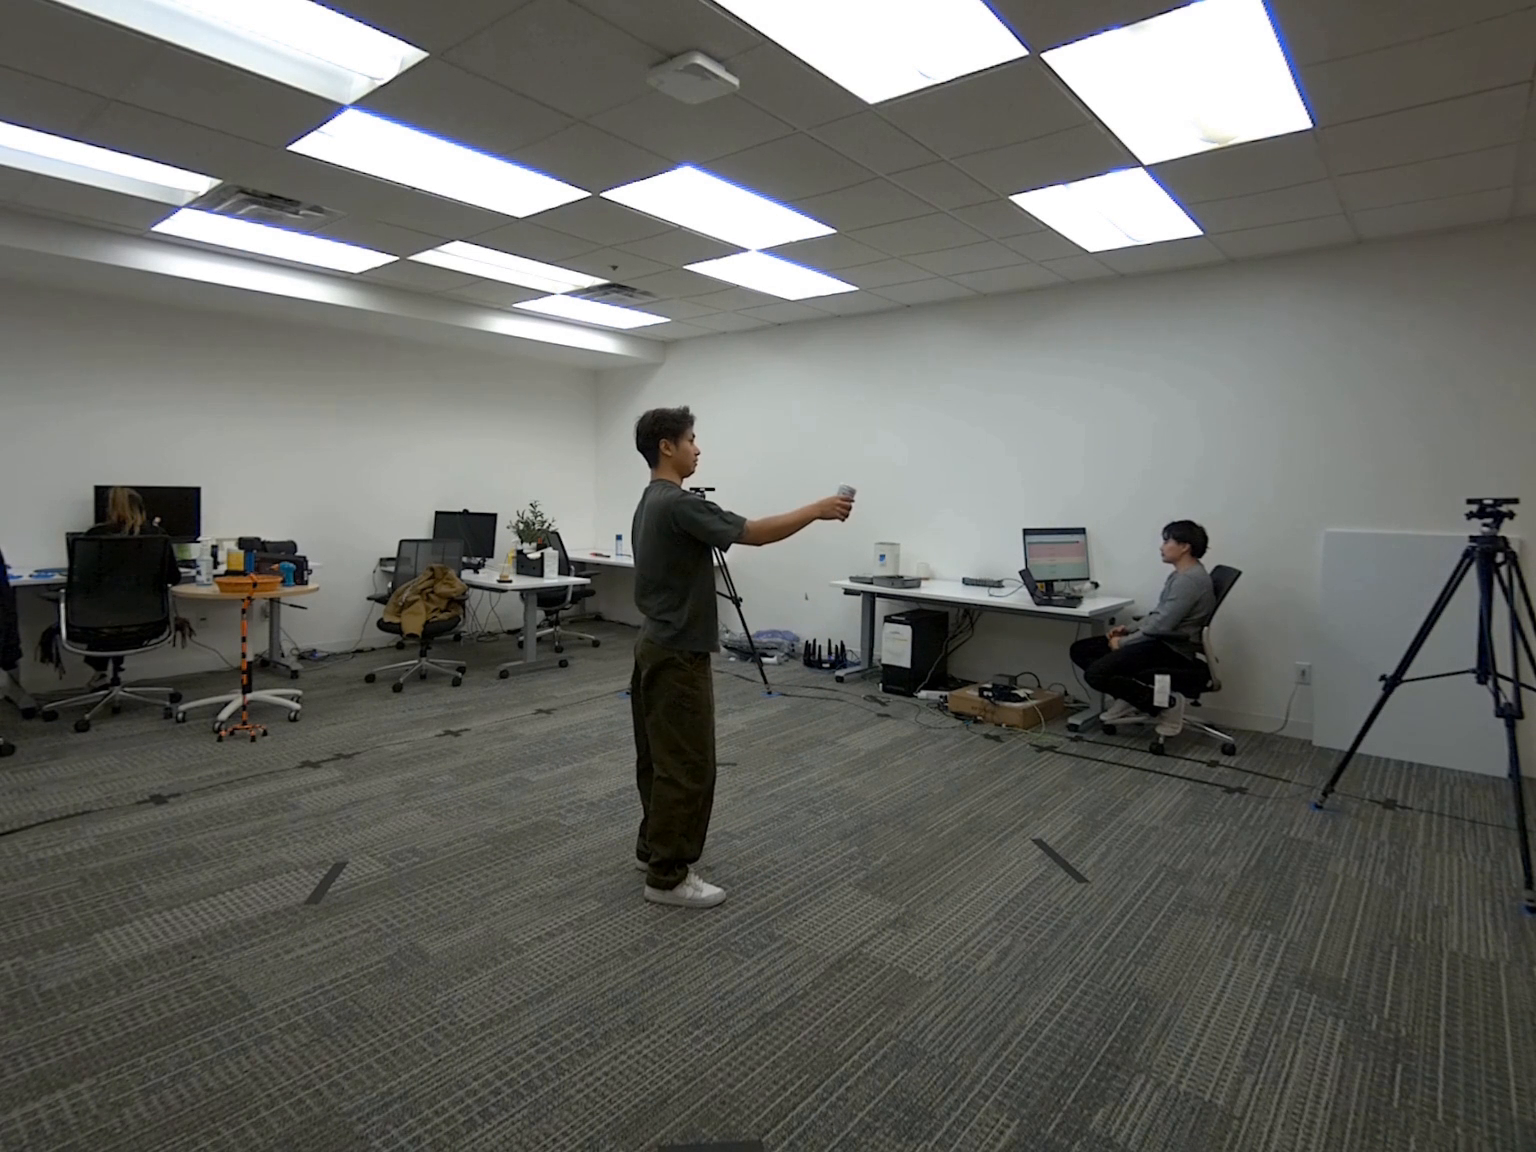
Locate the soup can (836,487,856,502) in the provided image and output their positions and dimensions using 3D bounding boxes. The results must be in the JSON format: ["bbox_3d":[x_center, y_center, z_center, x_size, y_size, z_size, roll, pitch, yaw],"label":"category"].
[{"bbox_3d":[0.237,-0.217,2.958,0.067,0.122,0.067,6,-5,-1],"label":"soup can"}]
